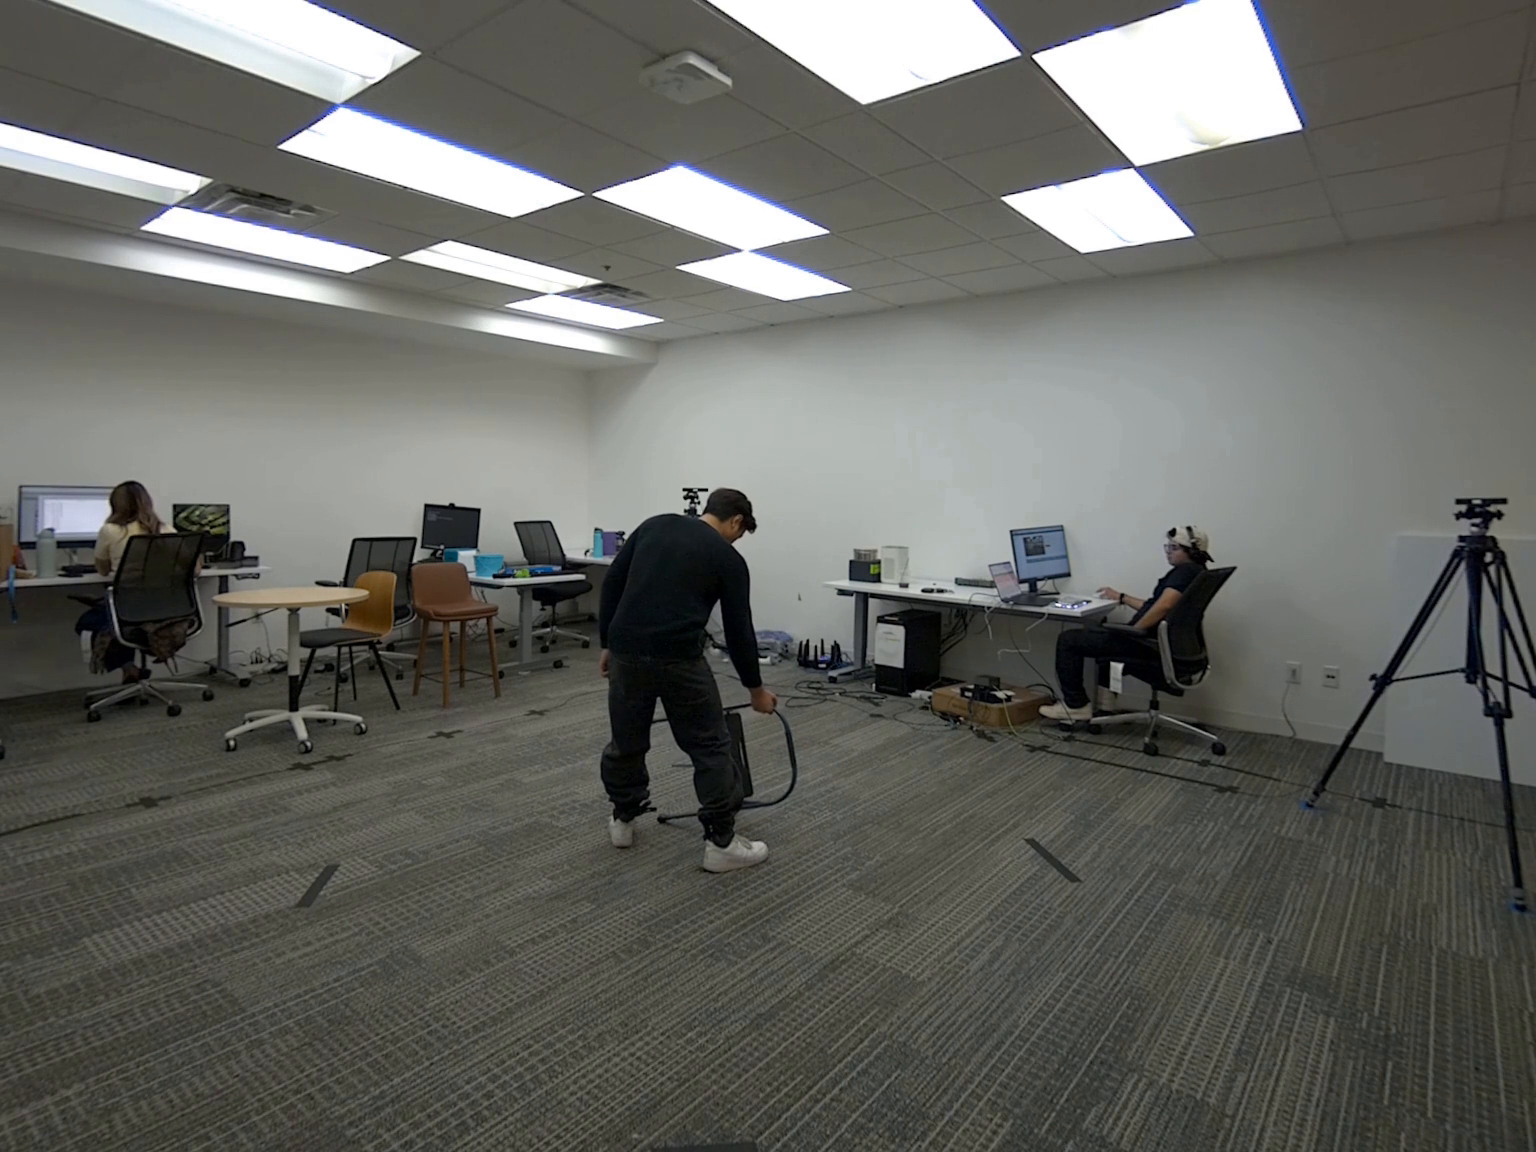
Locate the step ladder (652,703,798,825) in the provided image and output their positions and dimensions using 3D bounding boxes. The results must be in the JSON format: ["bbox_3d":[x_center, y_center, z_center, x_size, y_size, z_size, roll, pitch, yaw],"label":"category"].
[{"bbox_3d":[-0.175,0.741,3.478,0.338,0.436,0.618,0,-14,-43],"label":"step ladder"}]
